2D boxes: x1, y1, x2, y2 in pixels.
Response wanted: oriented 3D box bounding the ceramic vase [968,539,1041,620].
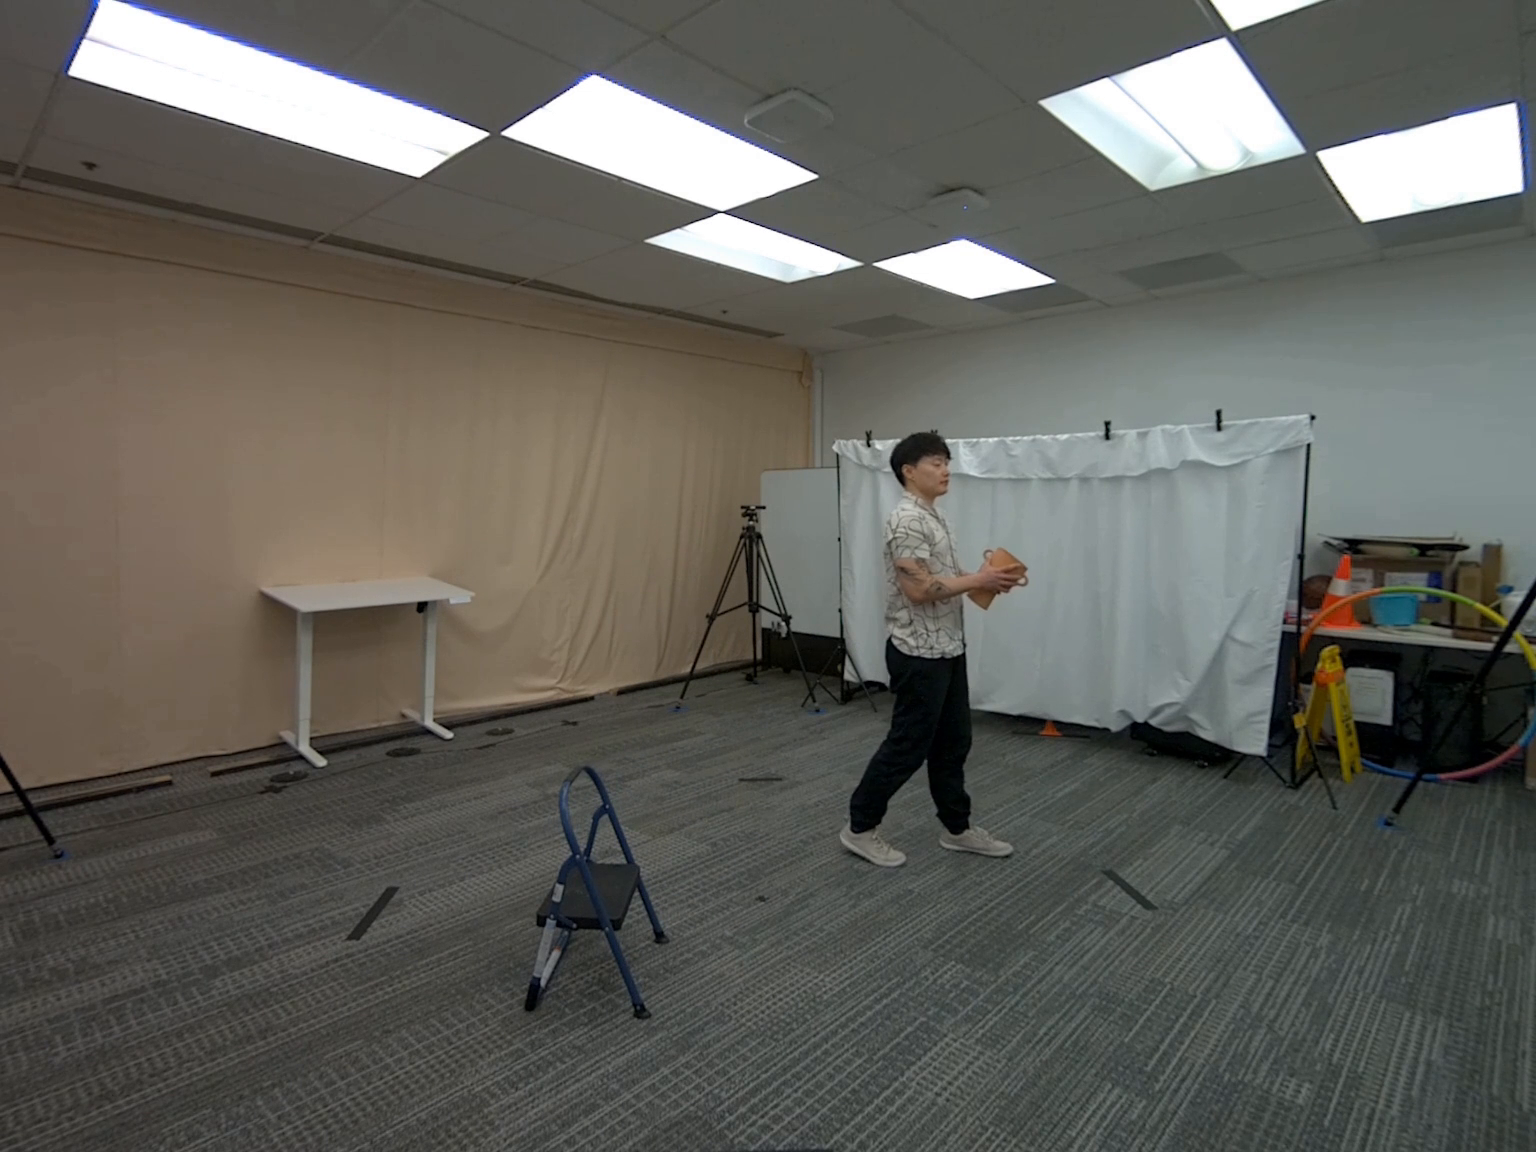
[{"bbox_3d":[0.860,0.009,3.177,0.131,0.220,0.163,31,14,-26],"label":"ceramic vase"}]
